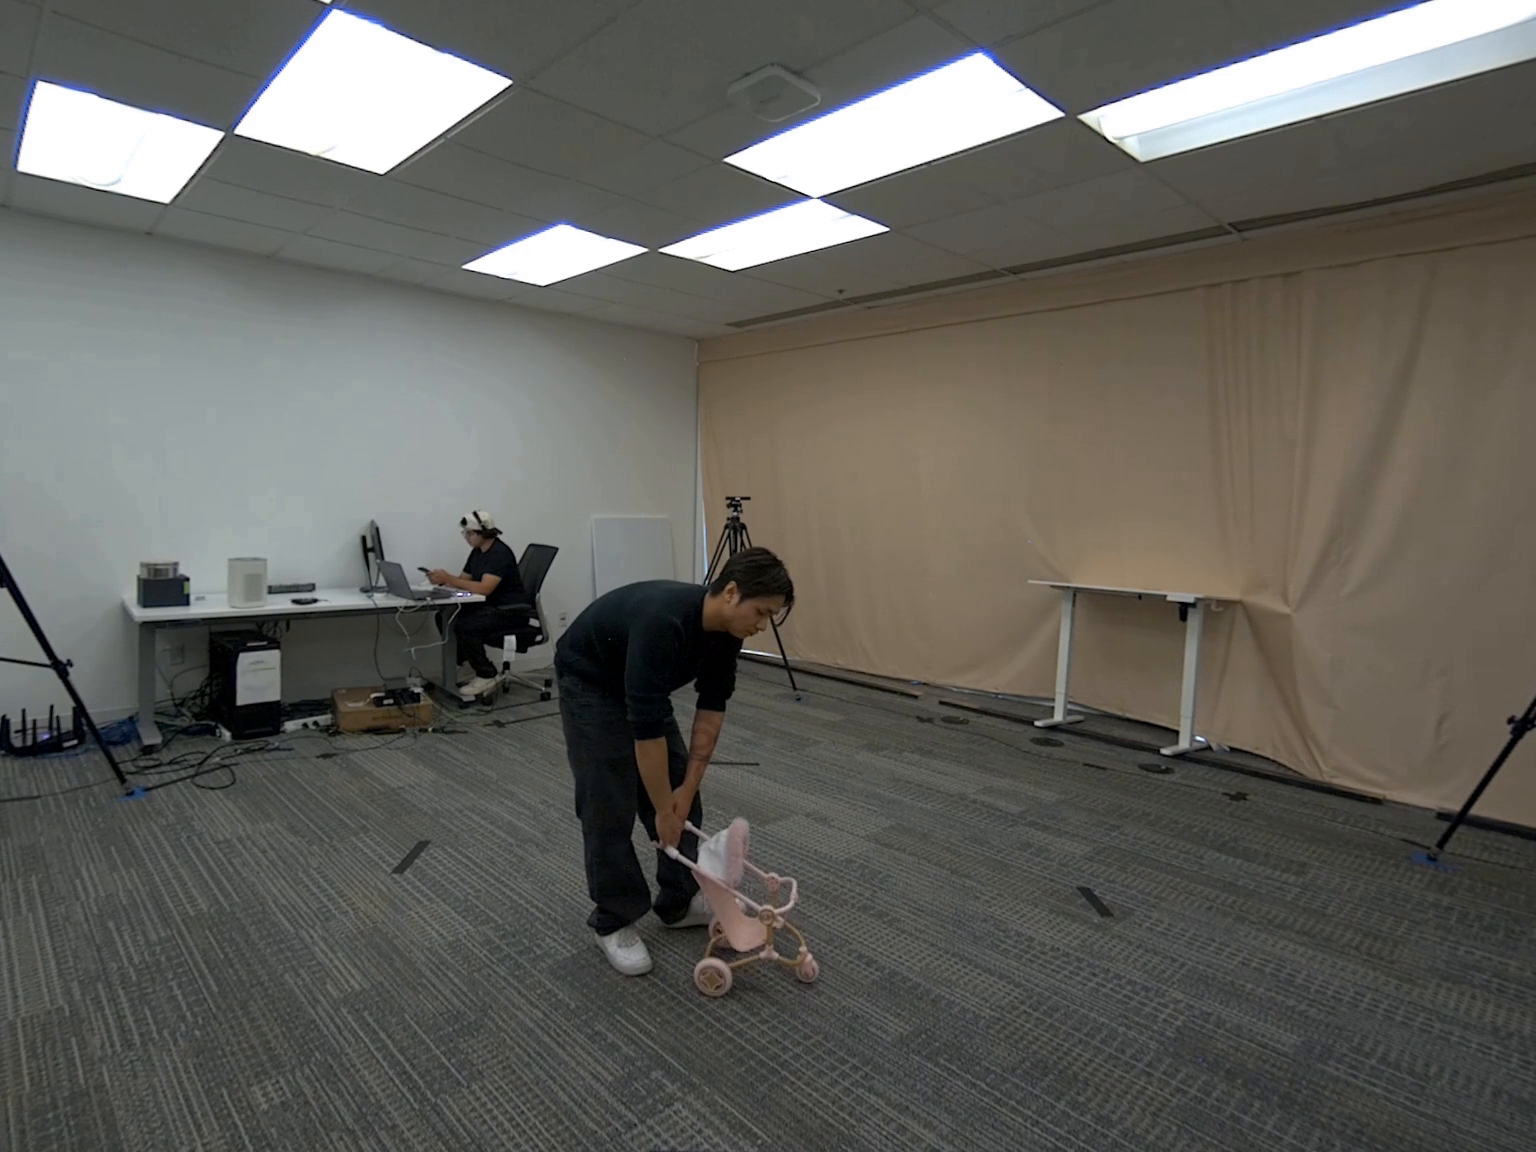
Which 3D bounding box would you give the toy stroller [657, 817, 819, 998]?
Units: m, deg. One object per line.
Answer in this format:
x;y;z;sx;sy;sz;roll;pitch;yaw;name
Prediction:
-0.075;0.949;2.439;0.344;0.534;0.280;-14;2;13;toy stroller
